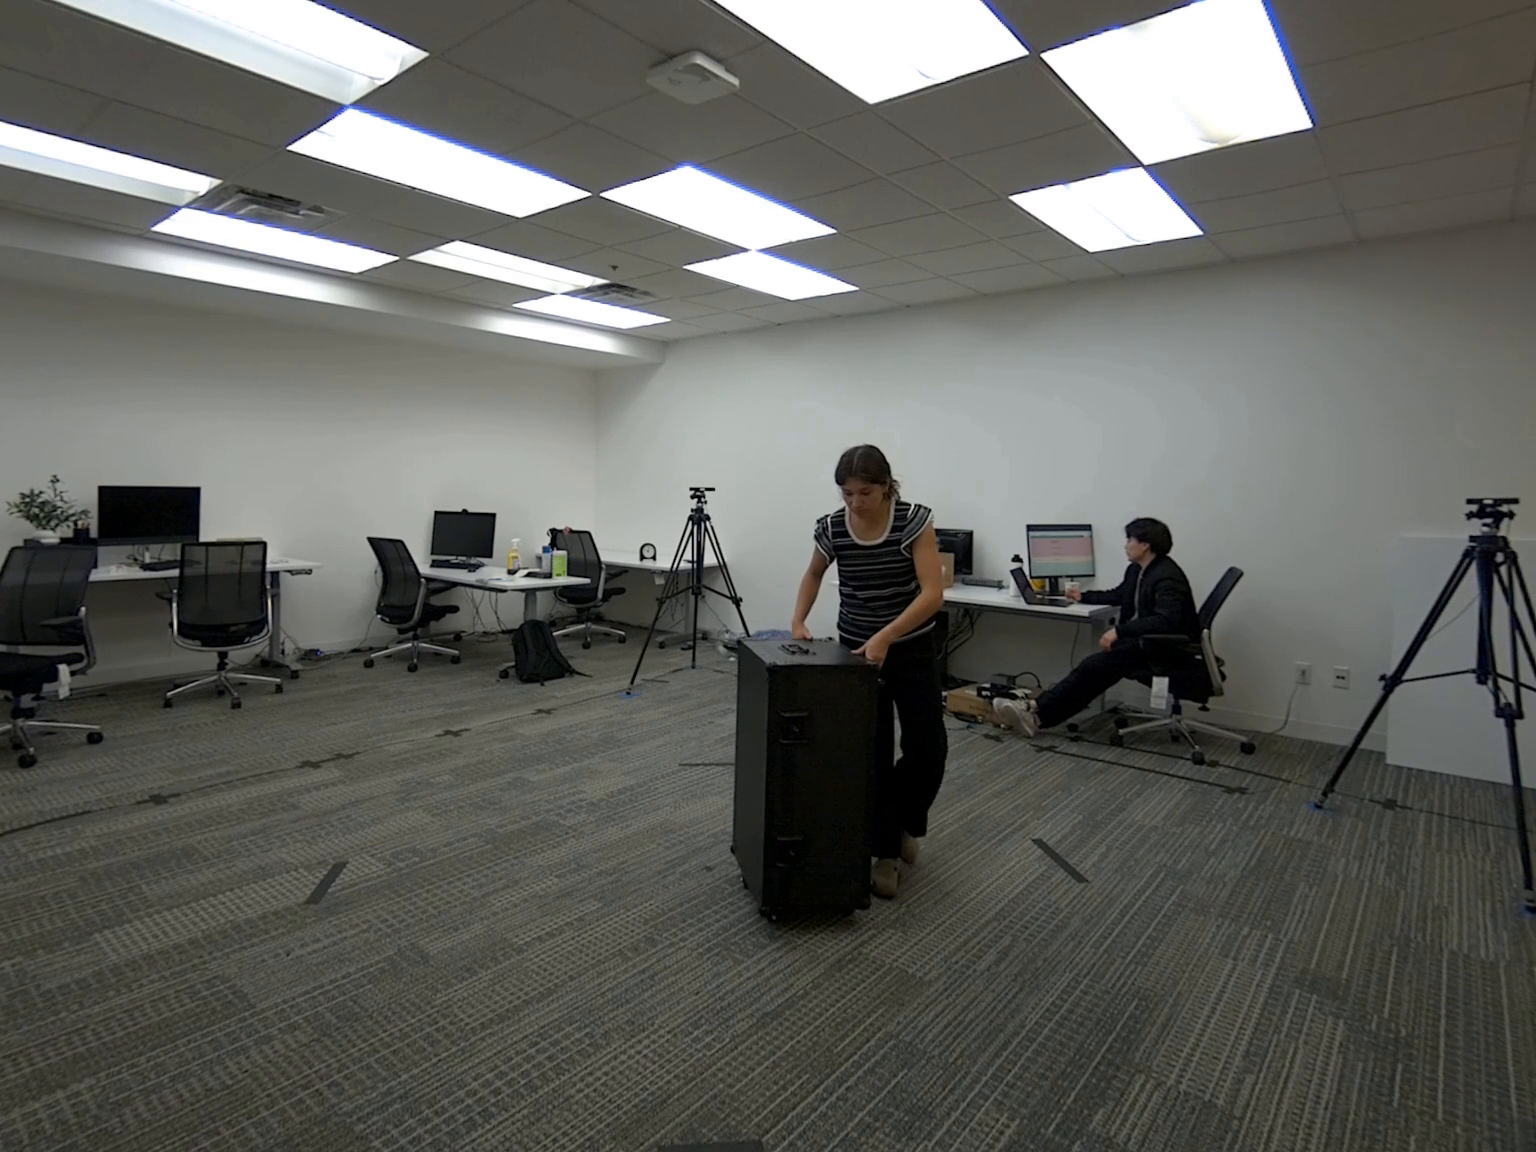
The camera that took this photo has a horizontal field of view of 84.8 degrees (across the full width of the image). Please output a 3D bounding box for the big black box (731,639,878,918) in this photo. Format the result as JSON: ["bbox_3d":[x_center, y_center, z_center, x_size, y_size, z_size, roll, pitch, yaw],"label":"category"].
[{"bbox_3d":[0.099,0.672,2.877,0.391,0.860,0.529,1,3,-13],"label":"big black box"}]
